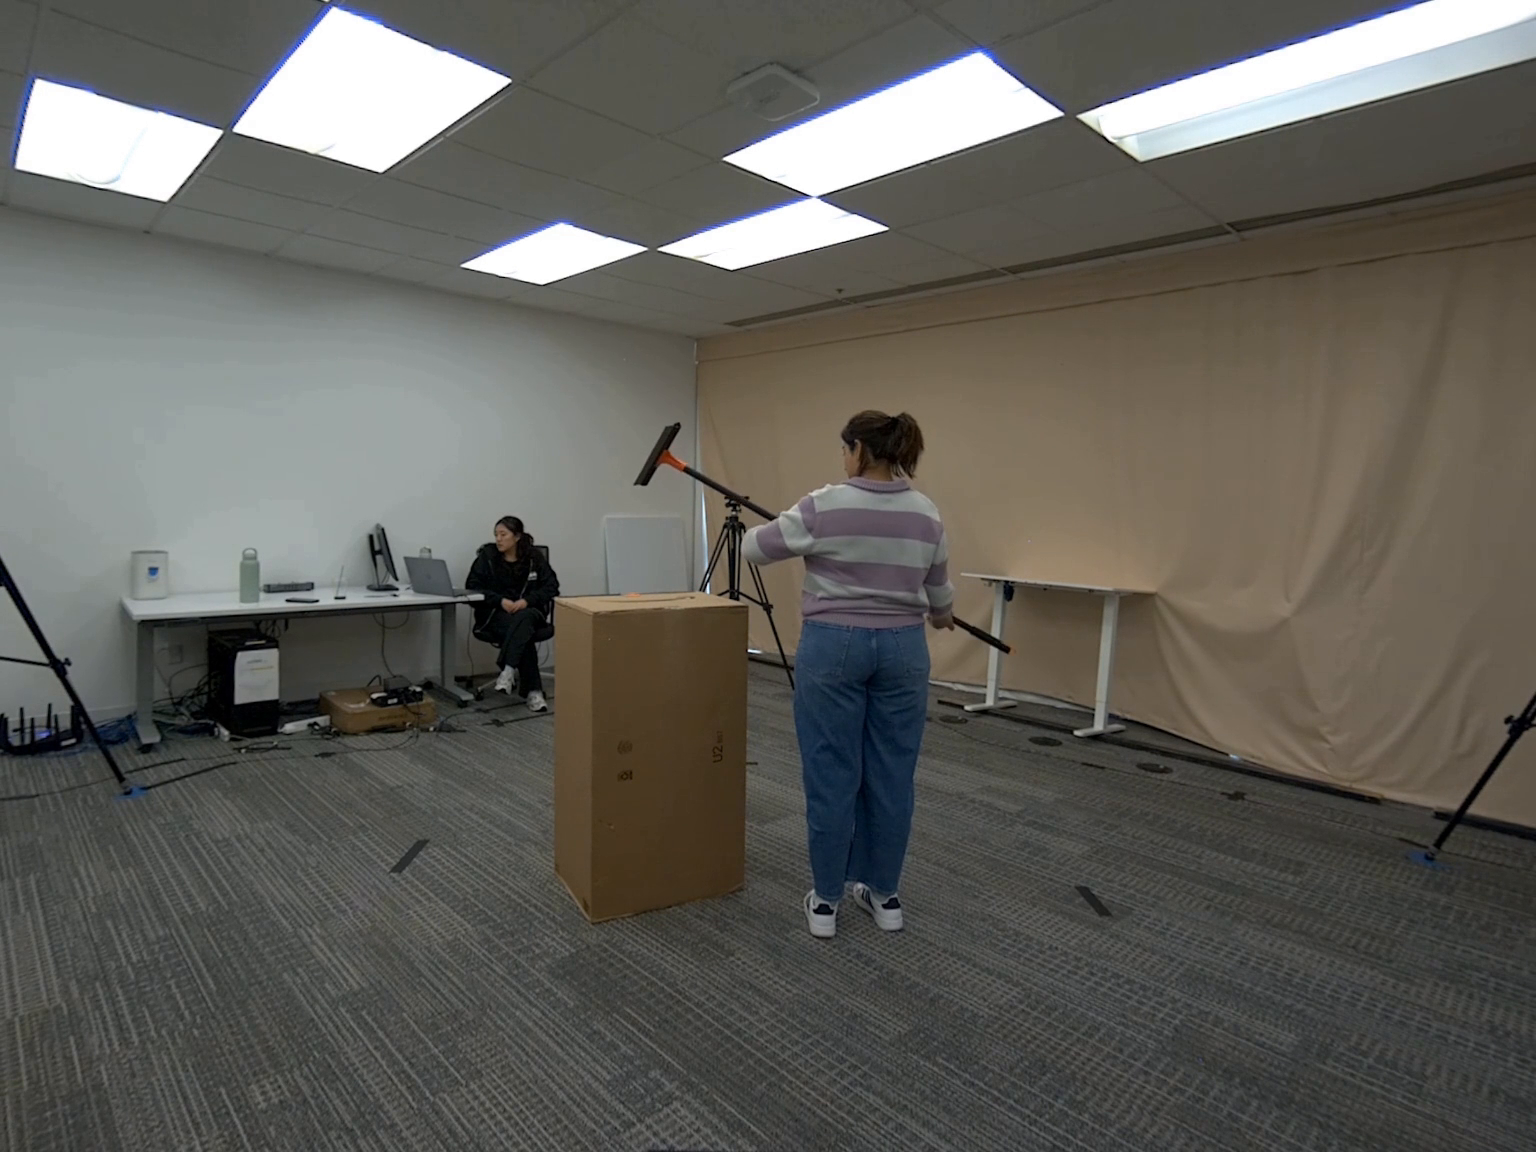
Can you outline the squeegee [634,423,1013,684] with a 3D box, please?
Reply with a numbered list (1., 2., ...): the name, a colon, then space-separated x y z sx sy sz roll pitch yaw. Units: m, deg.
1. squeegee: 0.259 -0.070 3.088 1.524 0.053 0.437 29 -32 -8
